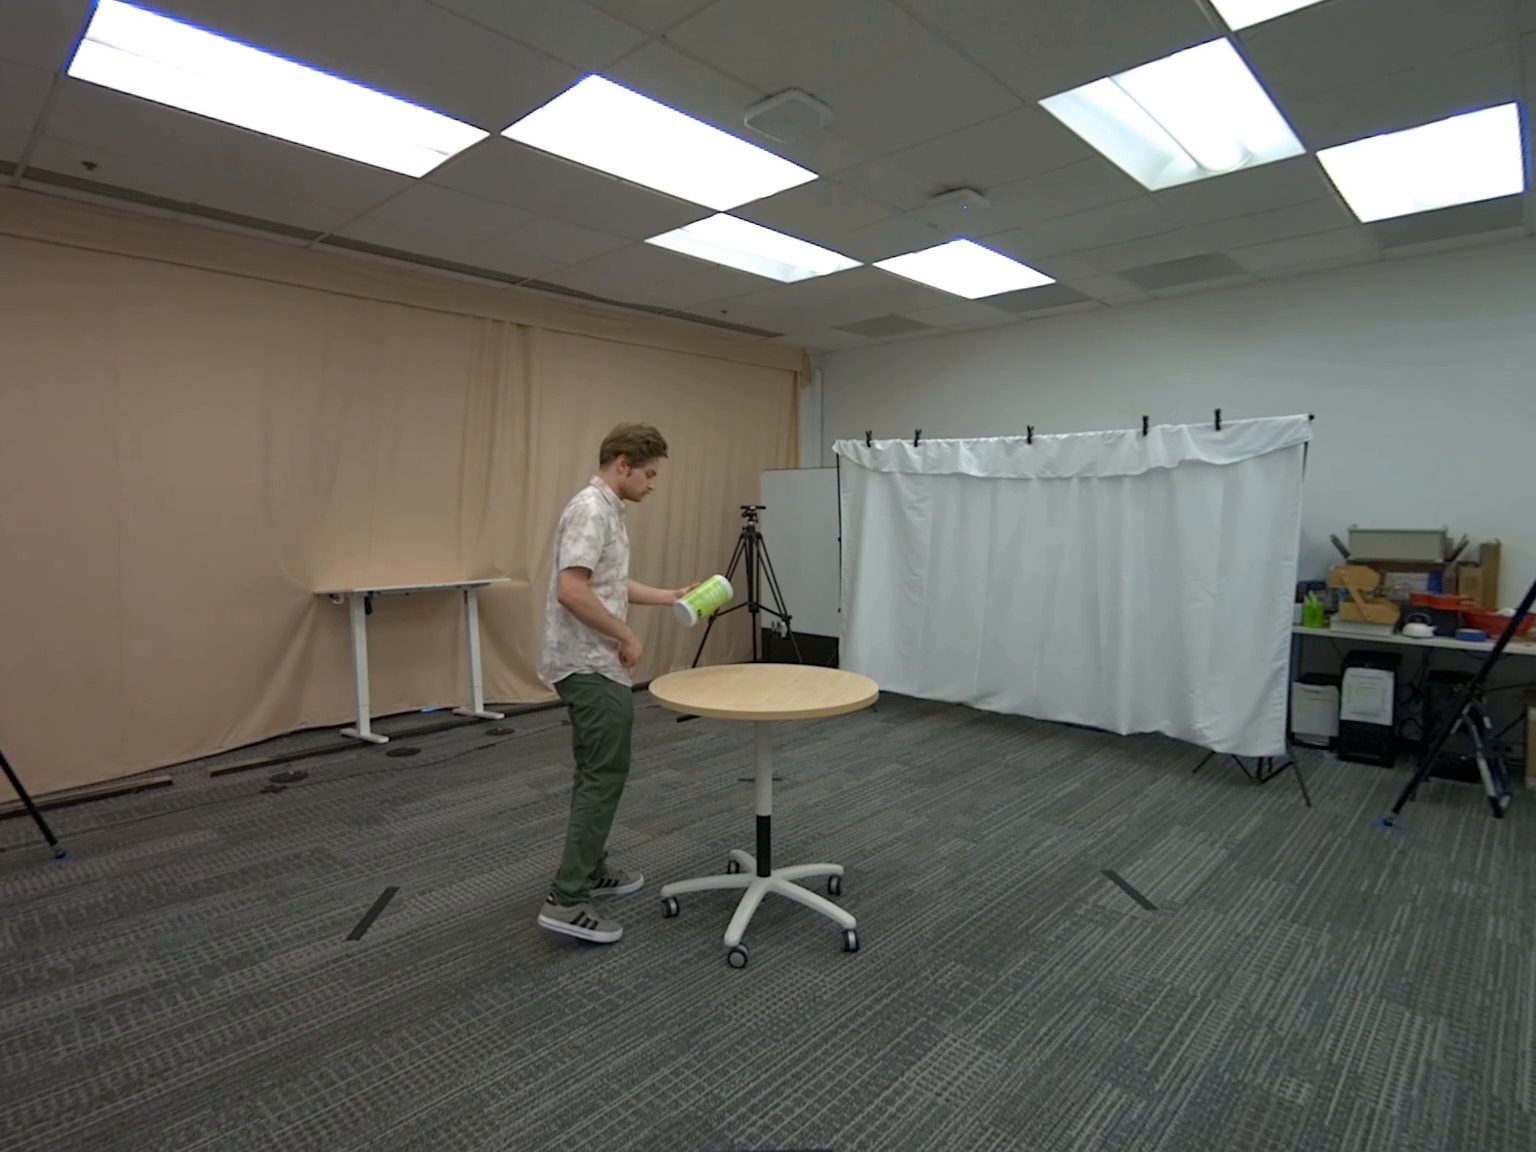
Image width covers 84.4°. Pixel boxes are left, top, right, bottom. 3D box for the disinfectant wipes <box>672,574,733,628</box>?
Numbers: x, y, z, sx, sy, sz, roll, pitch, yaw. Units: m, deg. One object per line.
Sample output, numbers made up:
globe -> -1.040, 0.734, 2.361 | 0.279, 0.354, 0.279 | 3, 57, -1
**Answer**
disinfectant wipes -> -0.237, 0.089, 3.090 | 0.214, 0.116, 0.121 | -33, 23, -33
